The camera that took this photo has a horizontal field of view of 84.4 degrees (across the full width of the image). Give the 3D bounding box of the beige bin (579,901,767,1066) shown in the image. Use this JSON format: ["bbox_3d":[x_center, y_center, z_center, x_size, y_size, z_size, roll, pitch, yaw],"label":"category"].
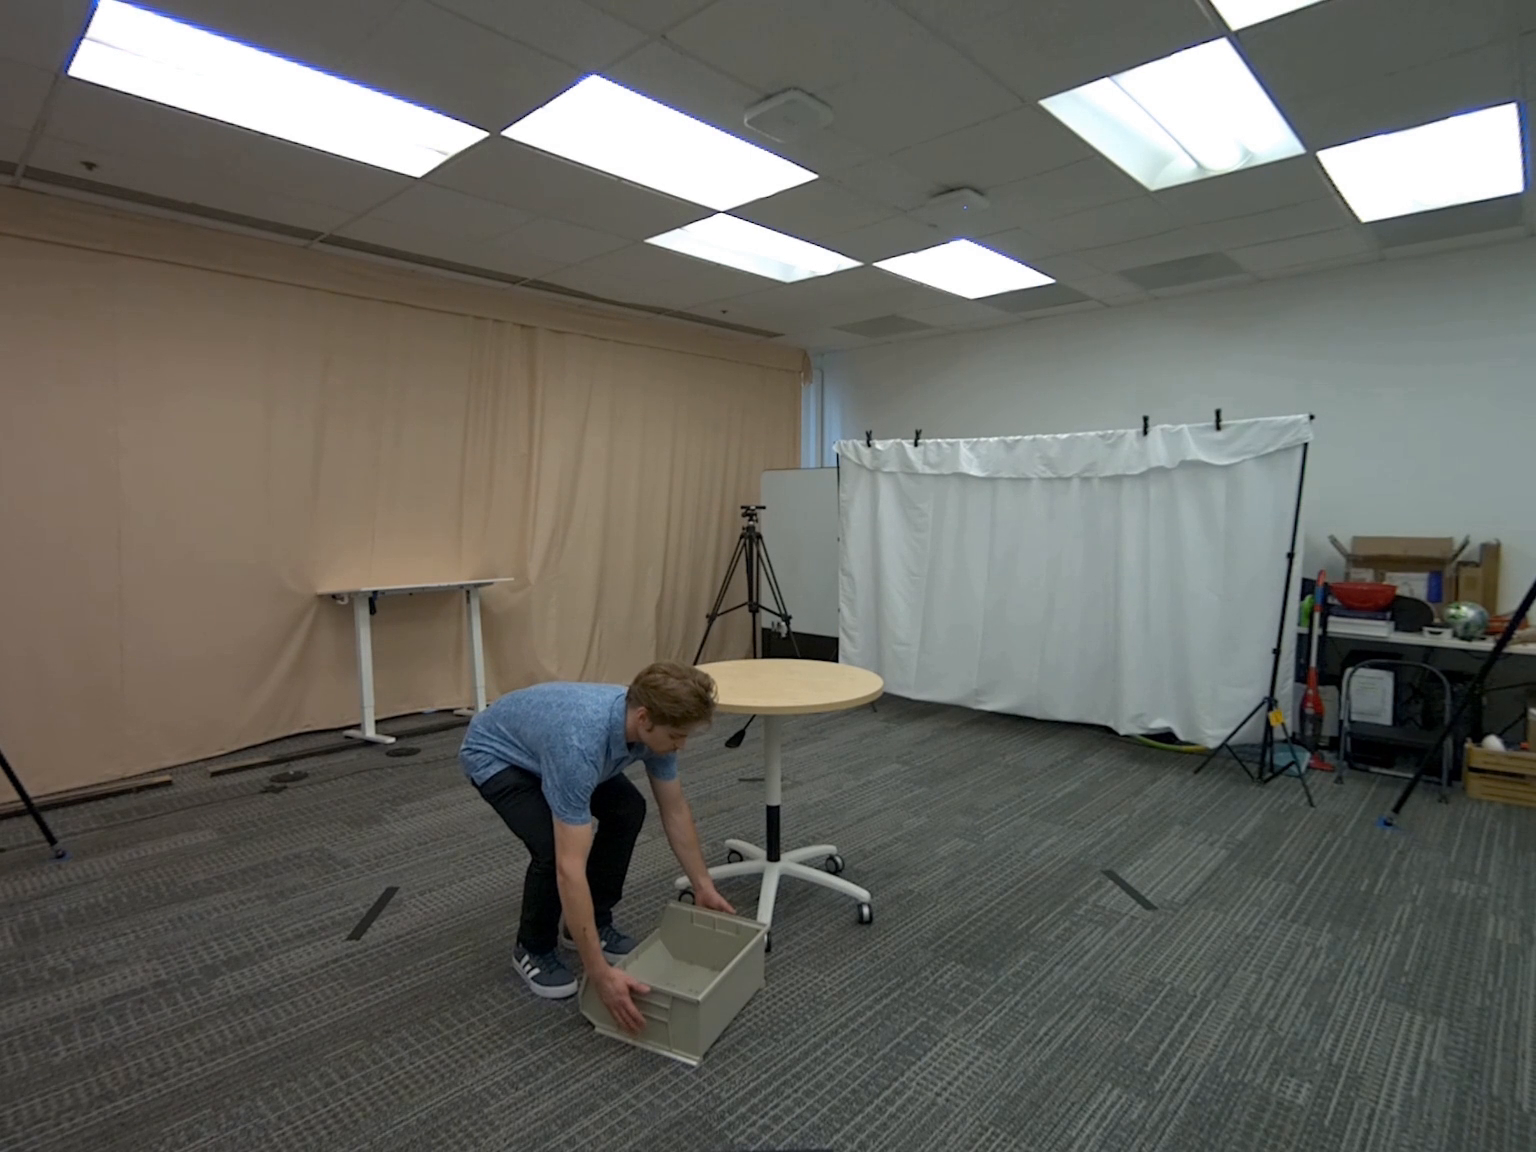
[{"bbox_3d":[-0.247,1.112,2.338,0.388,0.188,0.412,2,5,27],"label":"beige bin"}]
